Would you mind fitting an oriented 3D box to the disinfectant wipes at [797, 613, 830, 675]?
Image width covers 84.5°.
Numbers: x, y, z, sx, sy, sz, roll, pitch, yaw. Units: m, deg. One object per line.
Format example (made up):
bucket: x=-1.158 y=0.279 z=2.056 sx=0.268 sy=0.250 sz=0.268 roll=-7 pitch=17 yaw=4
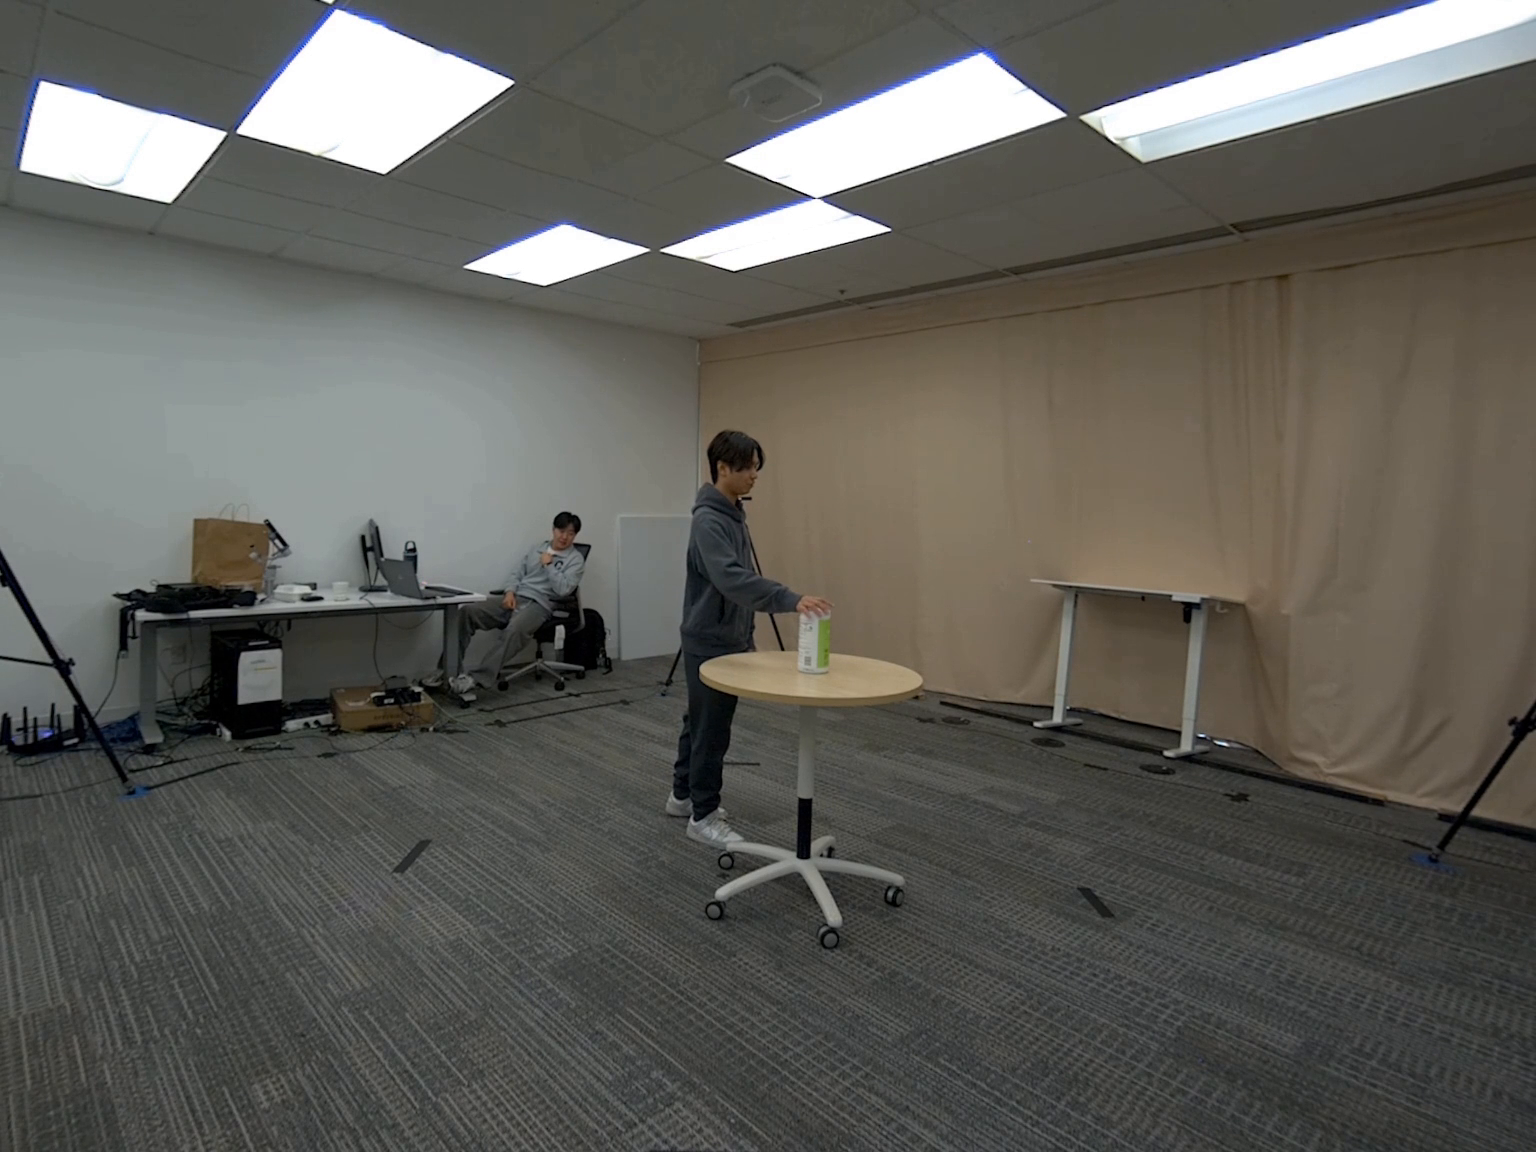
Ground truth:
disinfectant wipes: x=0.155 y=0.226 z=2.920 sx=0.118 sy=0.217 sz=0.118 roll=1 pitch=3 yaw=-1
